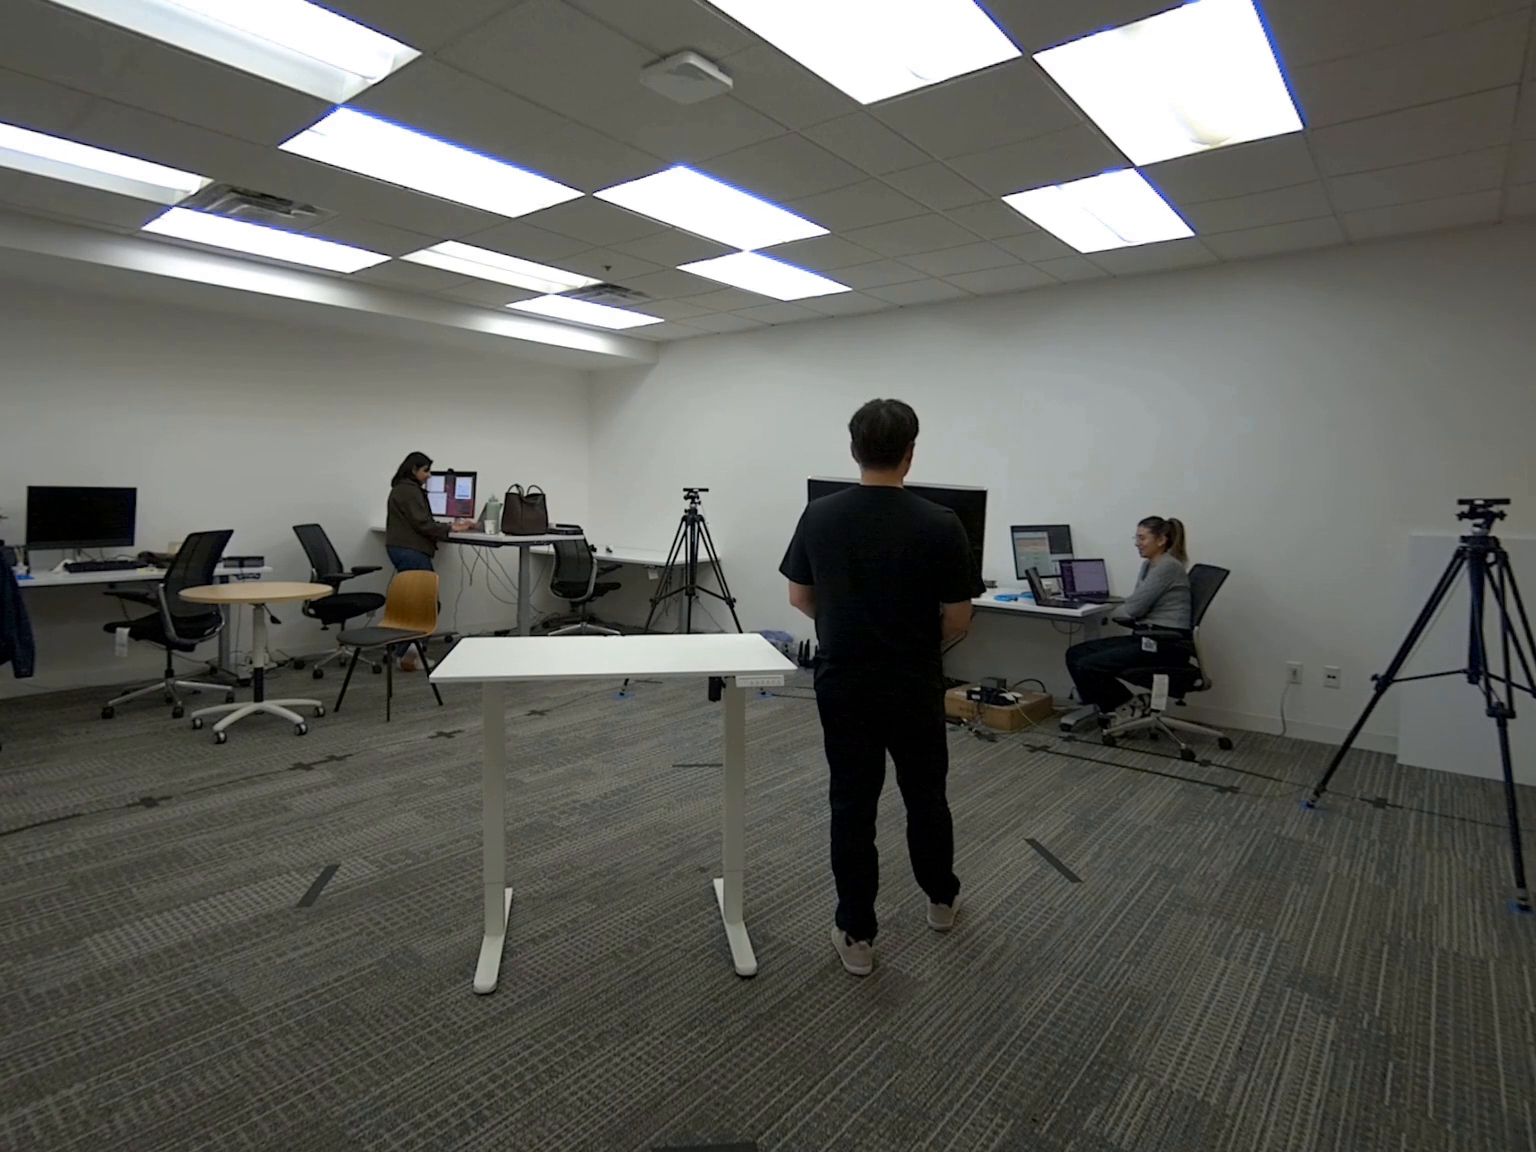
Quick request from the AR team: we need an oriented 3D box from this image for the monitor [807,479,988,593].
[{"bbox_3d":[0.376,-0.039,2.712,0.550,0.517,0.185,6,12,18],"label":"monitor"}]
